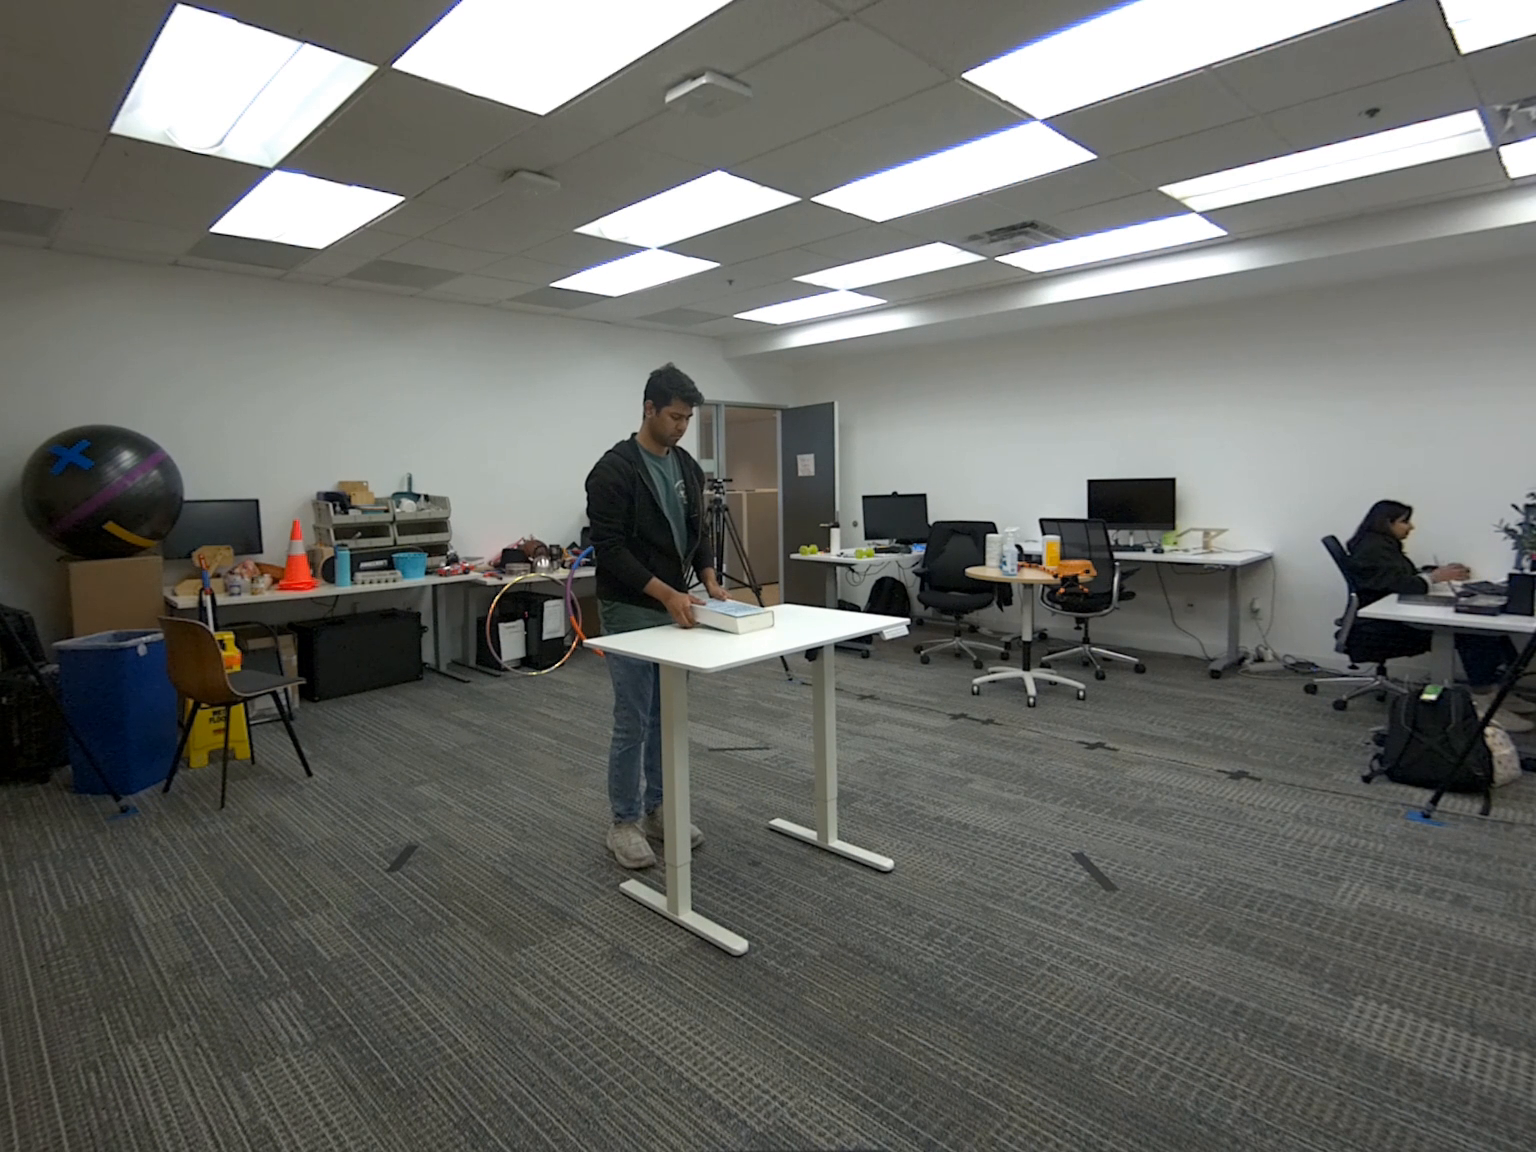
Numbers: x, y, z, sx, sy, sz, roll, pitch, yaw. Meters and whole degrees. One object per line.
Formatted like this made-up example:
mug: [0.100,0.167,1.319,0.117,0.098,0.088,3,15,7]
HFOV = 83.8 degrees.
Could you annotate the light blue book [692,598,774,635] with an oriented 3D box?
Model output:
light blue book: [-0.128,0.141,2.984,0.186,0.058,0.269,-7,11,-40]
